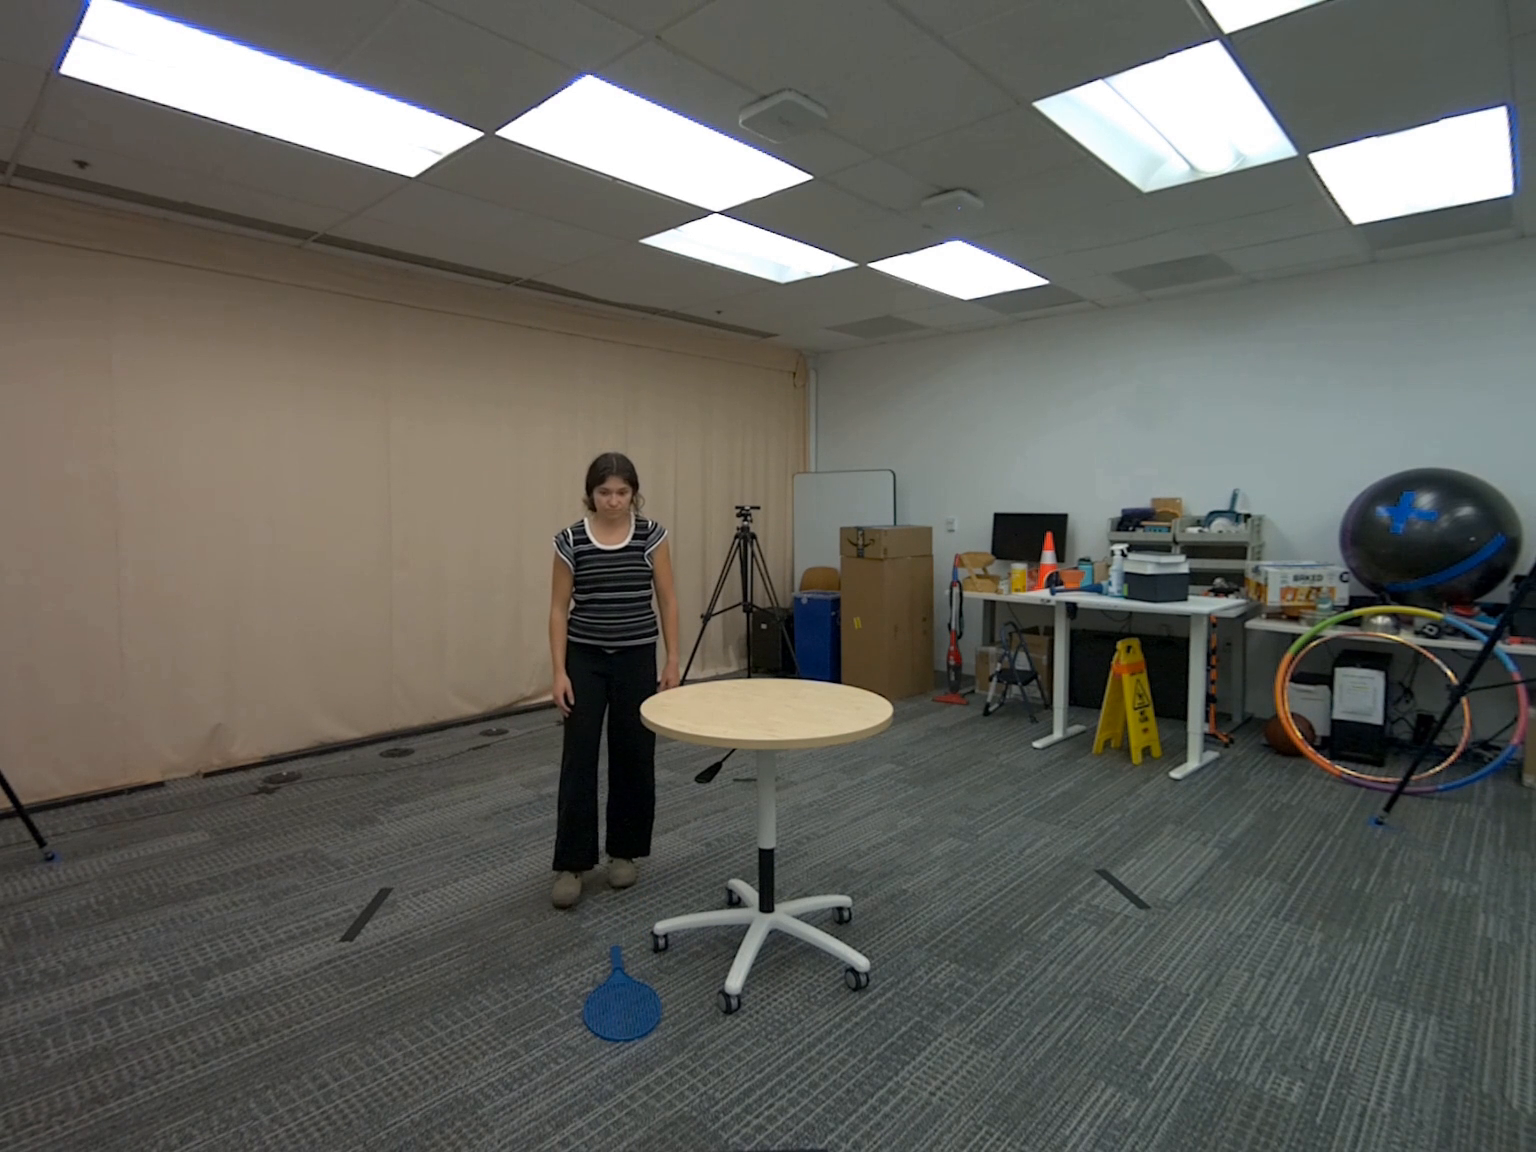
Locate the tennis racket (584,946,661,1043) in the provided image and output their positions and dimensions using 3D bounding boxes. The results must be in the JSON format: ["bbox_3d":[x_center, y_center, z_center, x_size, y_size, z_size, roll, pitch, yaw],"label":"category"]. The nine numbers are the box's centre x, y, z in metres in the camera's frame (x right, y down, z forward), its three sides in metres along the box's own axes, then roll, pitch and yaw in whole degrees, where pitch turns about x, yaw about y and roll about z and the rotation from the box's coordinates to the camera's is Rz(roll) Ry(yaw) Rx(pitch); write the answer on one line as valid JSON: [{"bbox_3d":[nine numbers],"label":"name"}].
[{"bbox_3d":[-0.389,1.159,2.416,0.212,0.031,0.438,-2,6,-10],"label":"tennis racket"}]
